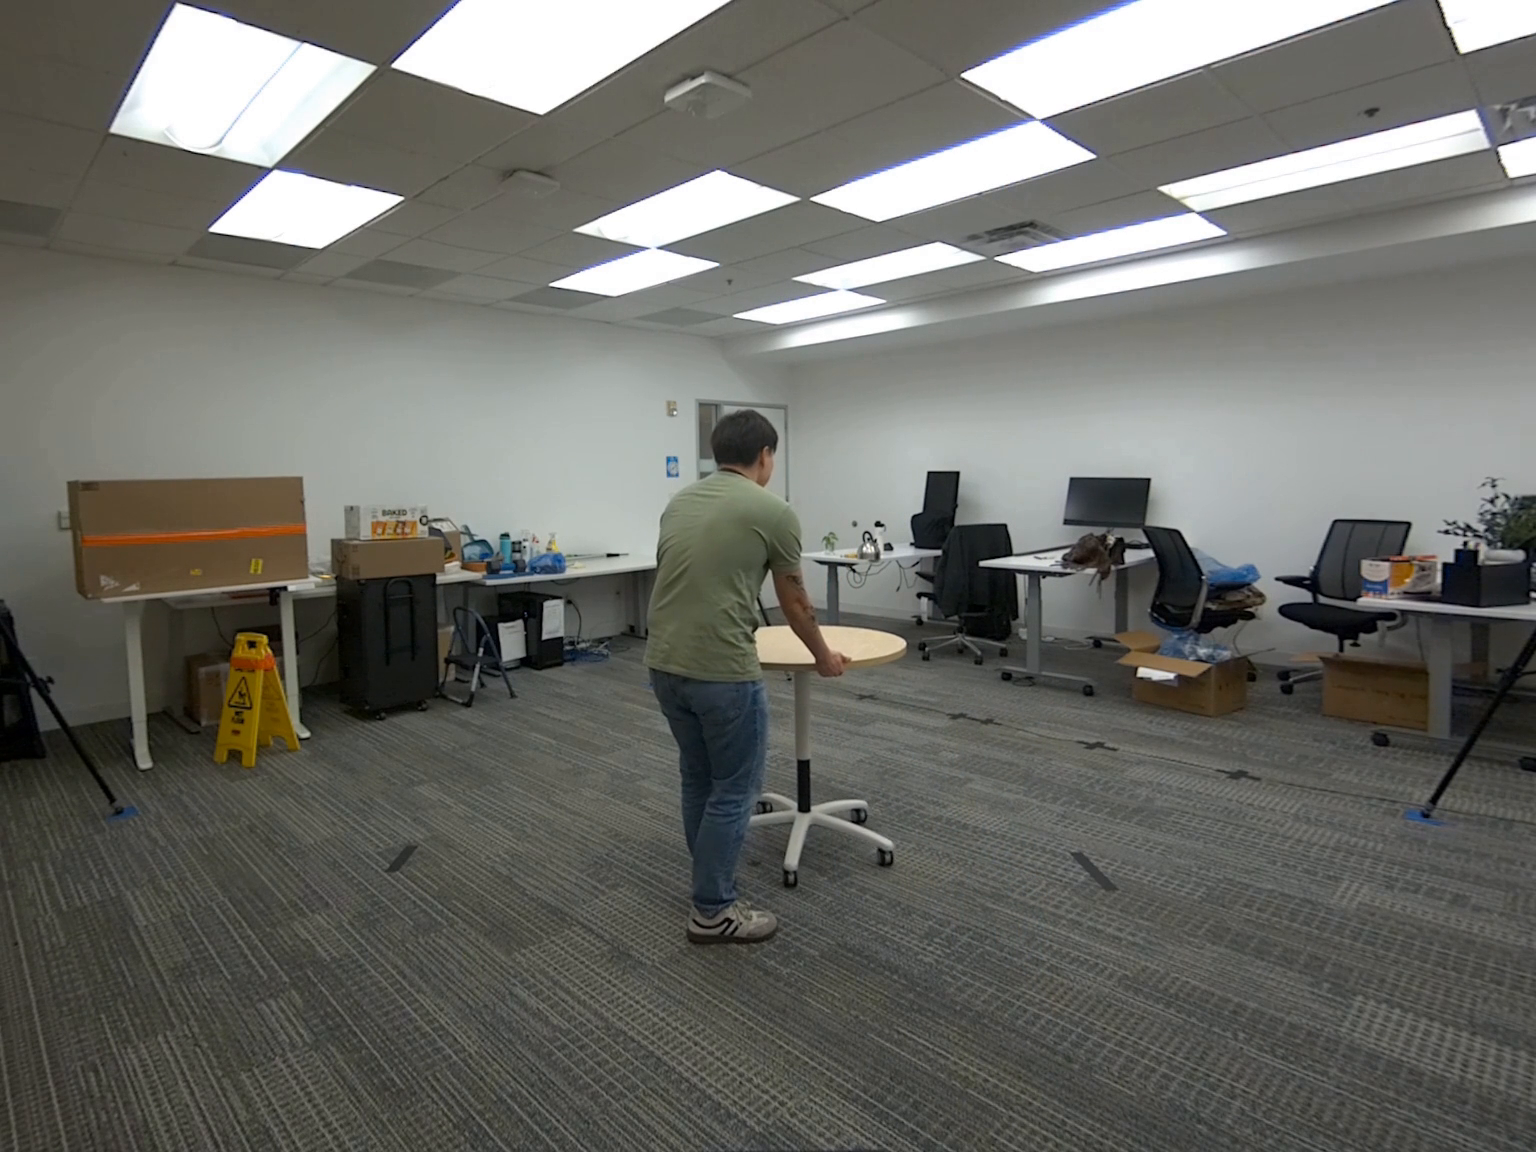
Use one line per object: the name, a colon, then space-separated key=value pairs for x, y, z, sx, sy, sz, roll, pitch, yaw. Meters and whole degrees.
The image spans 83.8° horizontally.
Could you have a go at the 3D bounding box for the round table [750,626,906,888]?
round table: x=0.138 y=0.641 z=3.216 sx=0.763 sy=0.791 sz=0.768 roll=-1 pitch=5 yaw=-2
